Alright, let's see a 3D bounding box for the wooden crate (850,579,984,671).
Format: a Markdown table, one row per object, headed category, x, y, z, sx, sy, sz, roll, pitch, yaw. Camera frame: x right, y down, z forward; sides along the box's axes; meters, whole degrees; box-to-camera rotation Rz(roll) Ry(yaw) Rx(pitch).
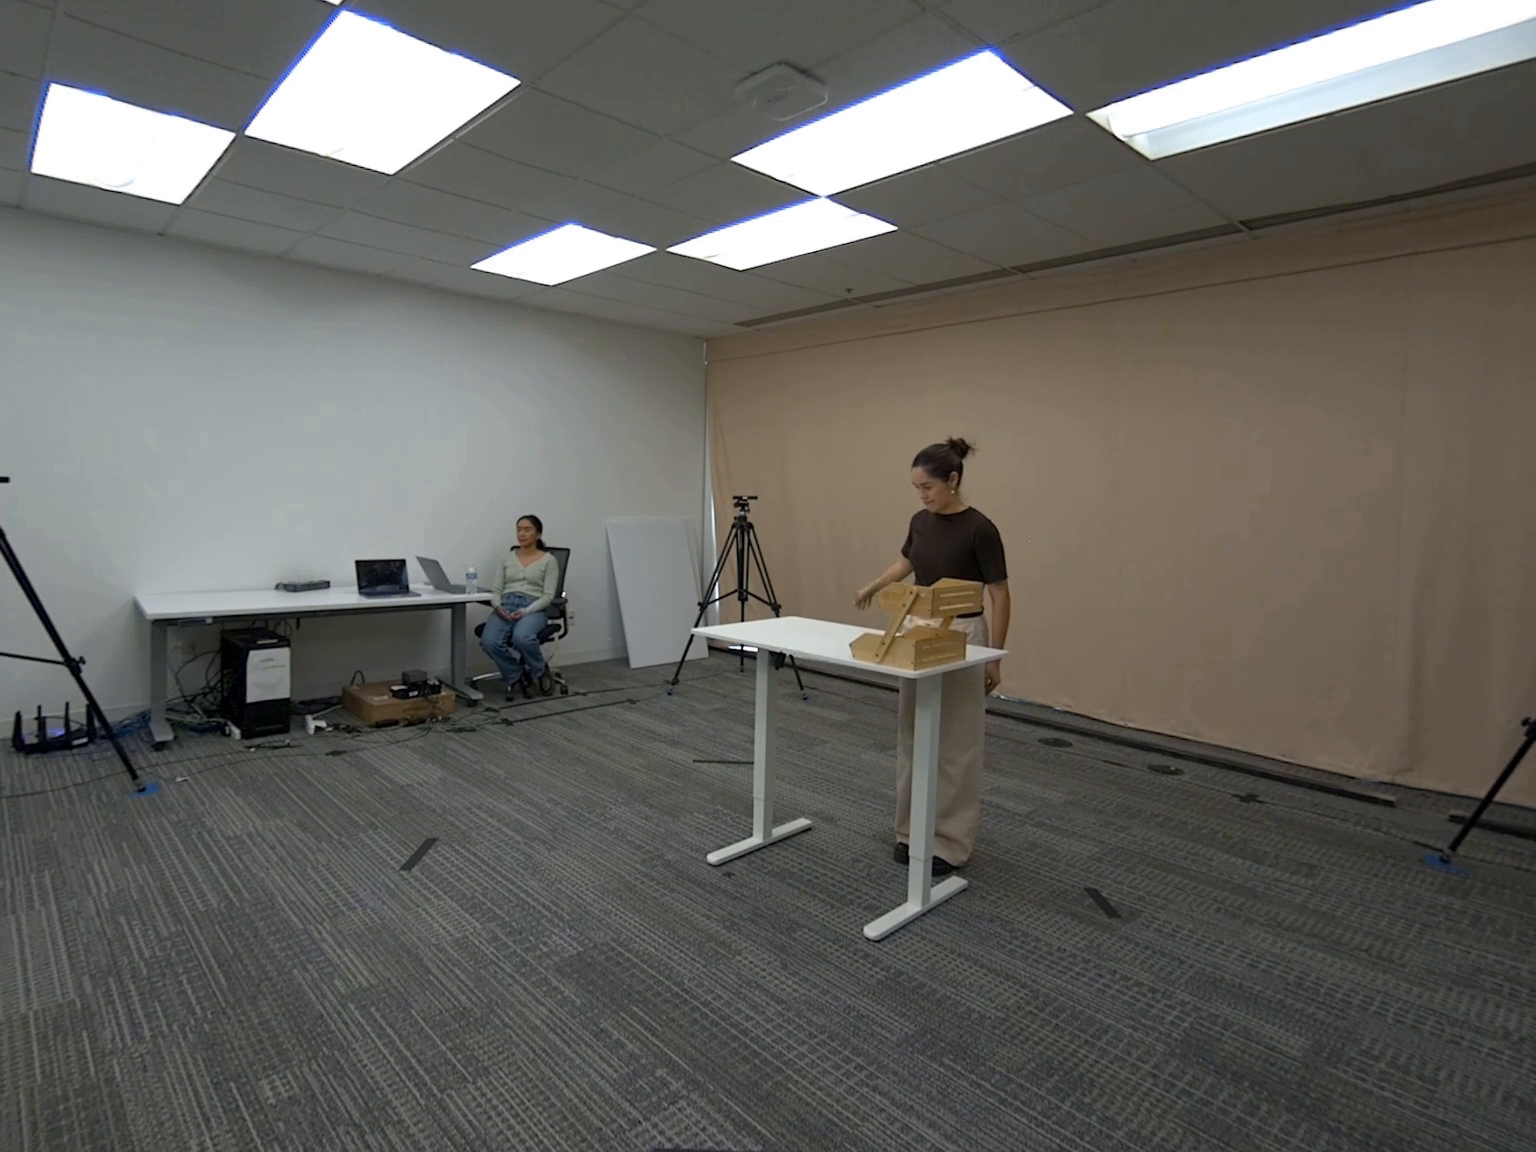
| category | x | y | z | sx | sy | sz | roll | pitch | yaw |
| --- | --- | --- | --- | --- | --- | --- | --- | --- | --- |
| wooden crate | 0.470 | 0.141 | 2.713 | 0.310 | 0.272 | 0.317 | 7 | 7 | 44 |
